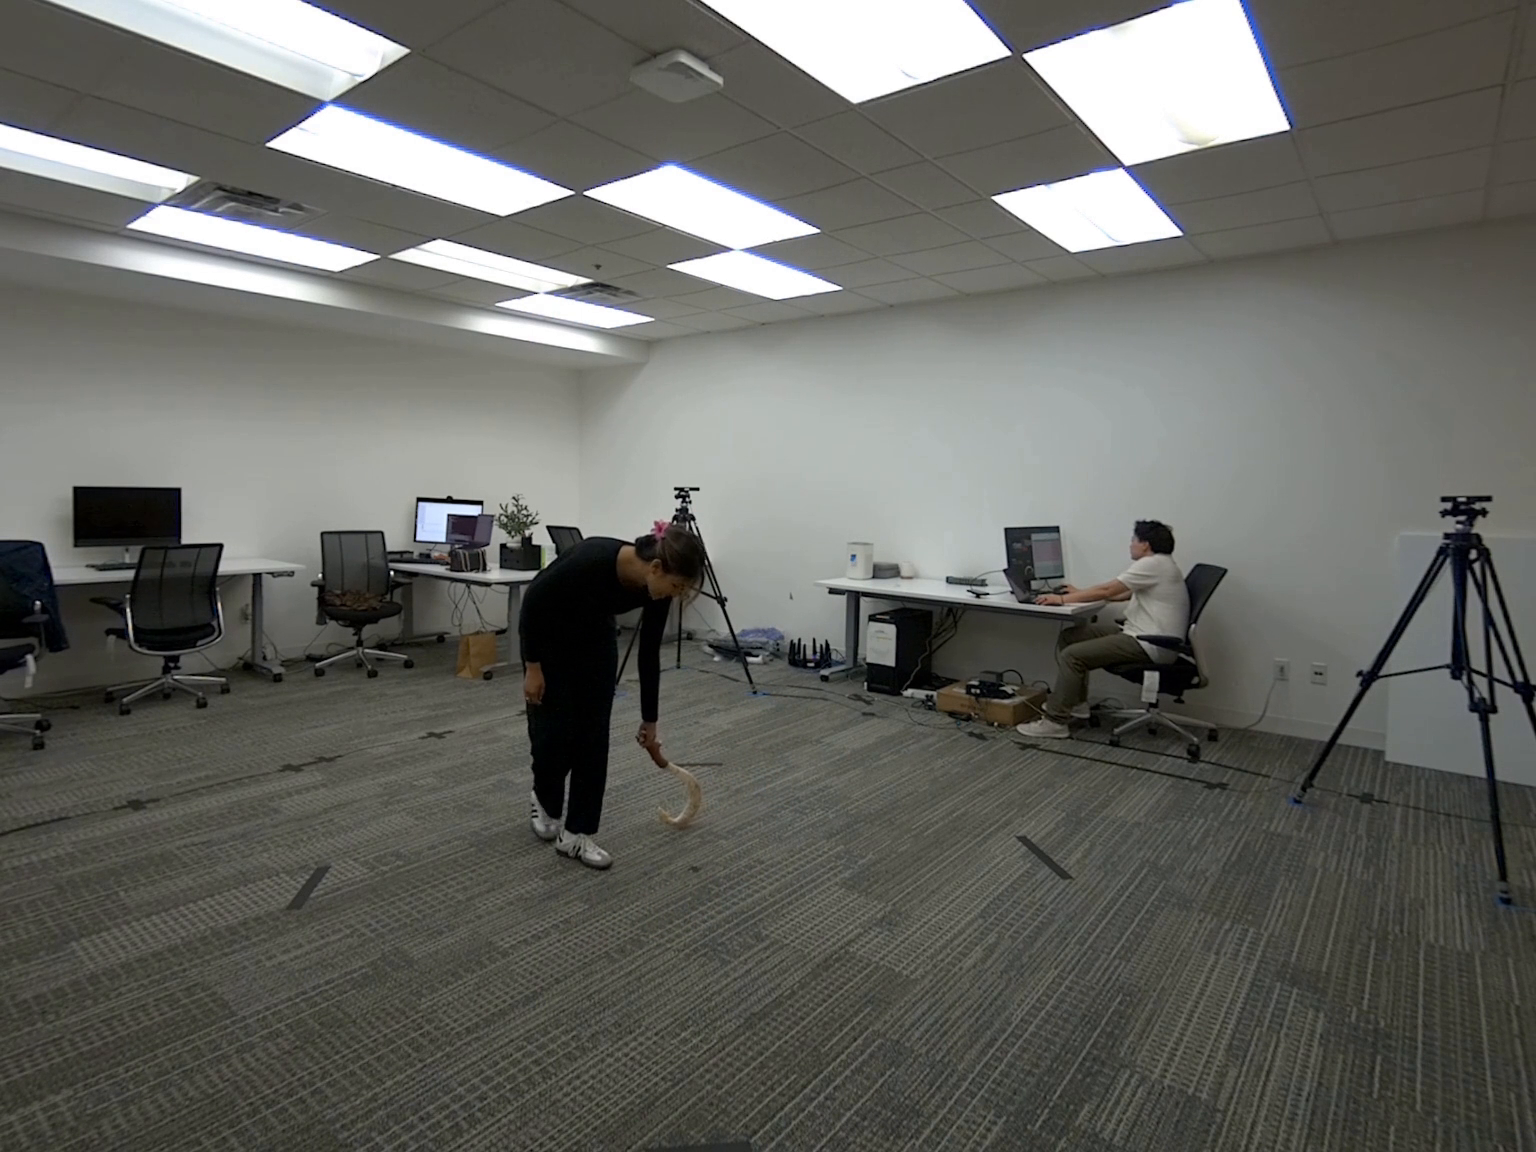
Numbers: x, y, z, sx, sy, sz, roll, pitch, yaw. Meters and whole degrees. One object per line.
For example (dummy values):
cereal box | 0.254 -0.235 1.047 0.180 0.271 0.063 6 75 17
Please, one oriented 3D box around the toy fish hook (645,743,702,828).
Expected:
toy fish hook | -0.423 0.819 3.395 0.050 0.488 0.226 -1 42 39
